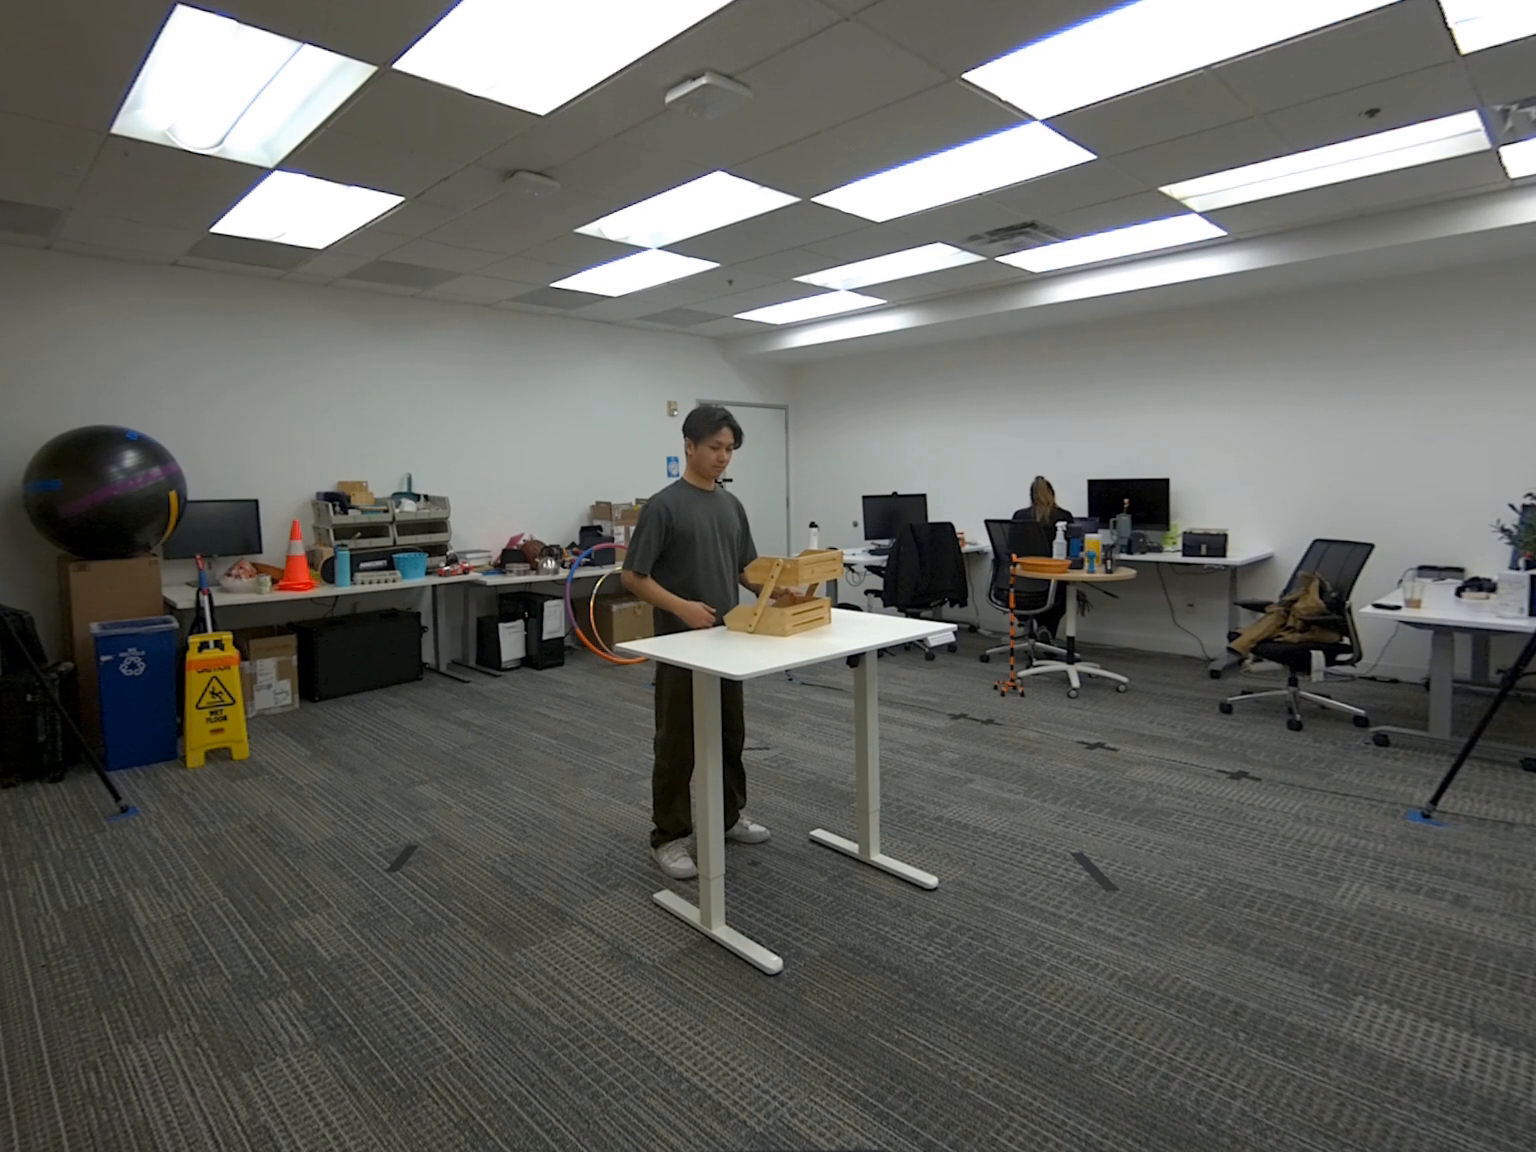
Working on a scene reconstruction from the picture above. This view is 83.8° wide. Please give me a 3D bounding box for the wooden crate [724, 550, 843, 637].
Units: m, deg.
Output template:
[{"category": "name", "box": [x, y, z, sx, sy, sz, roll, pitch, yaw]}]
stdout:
[{"category": "wooden crate", "box": [0.054, 0.046, 2.941, 0.311, 0.272, 0.317, 3, 7, 36]}]
